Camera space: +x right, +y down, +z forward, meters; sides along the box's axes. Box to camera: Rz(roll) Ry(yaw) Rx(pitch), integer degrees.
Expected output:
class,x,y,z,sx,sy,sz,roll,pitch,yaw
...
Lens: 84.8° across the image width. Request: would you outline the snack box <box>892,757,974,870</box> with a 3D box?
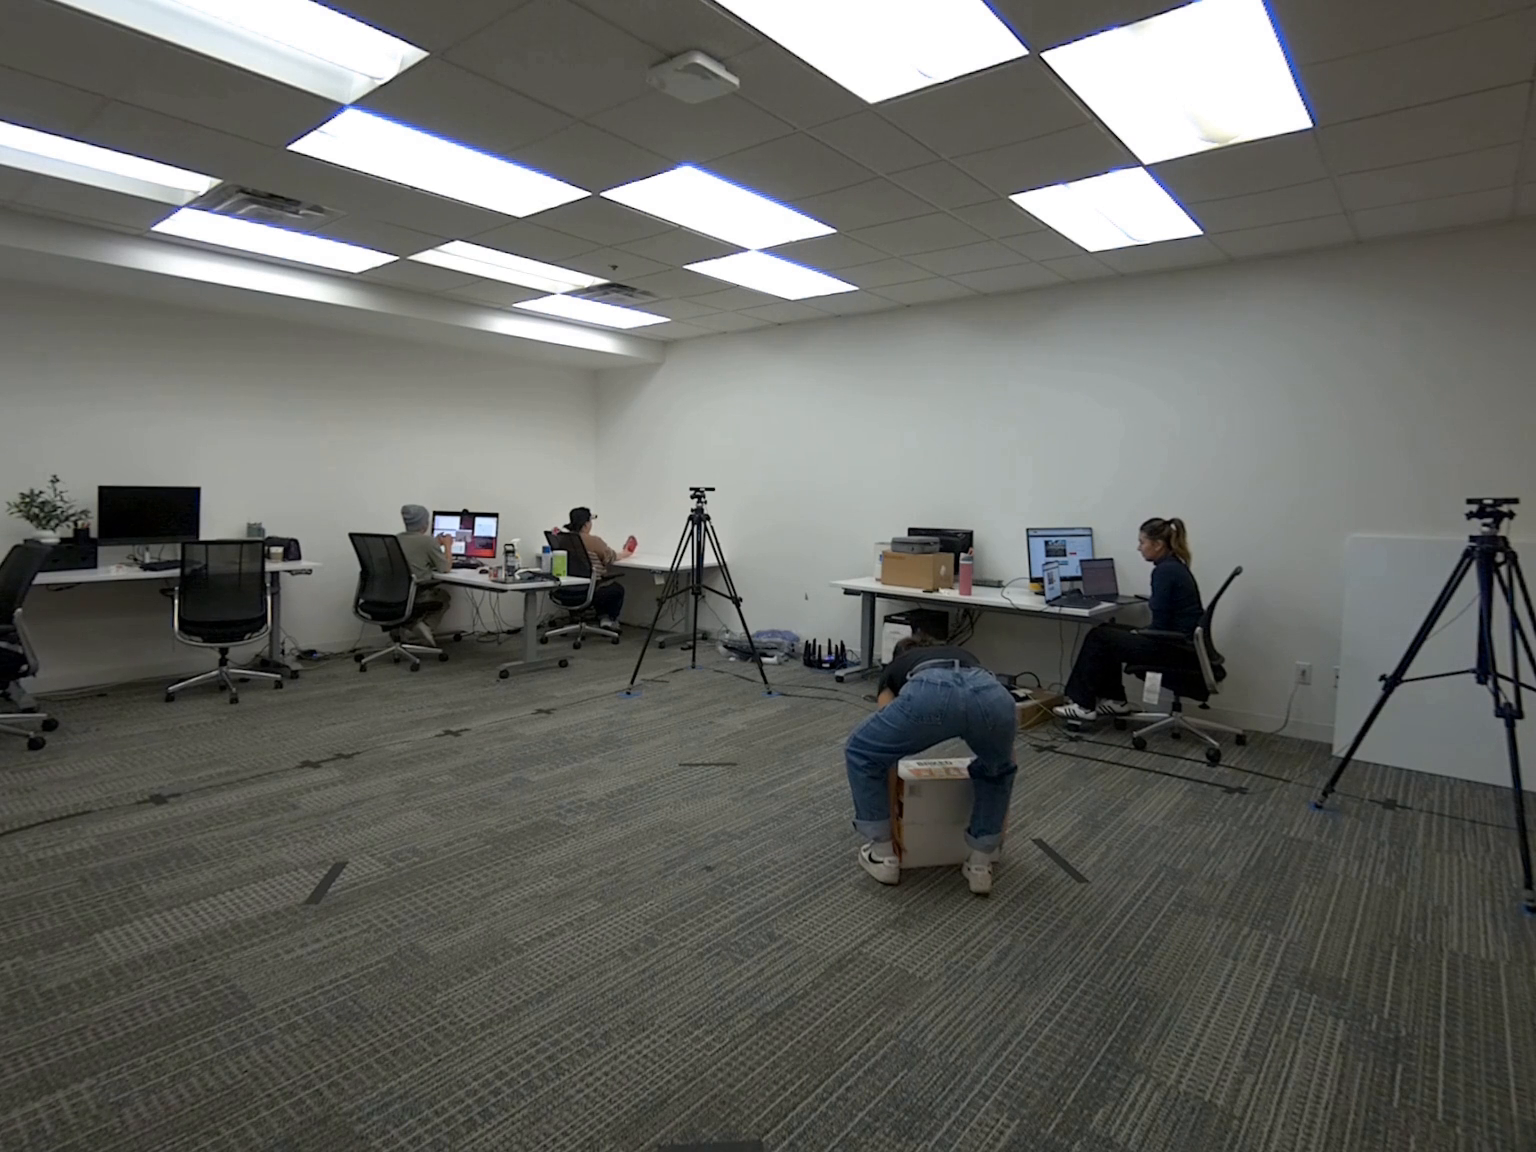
class,x,y,z,sx,sy,sz,roll,pitch,yaw
snack box,0.654,0.900,3.269,0.400,0.339,0.209,0,6,-13
